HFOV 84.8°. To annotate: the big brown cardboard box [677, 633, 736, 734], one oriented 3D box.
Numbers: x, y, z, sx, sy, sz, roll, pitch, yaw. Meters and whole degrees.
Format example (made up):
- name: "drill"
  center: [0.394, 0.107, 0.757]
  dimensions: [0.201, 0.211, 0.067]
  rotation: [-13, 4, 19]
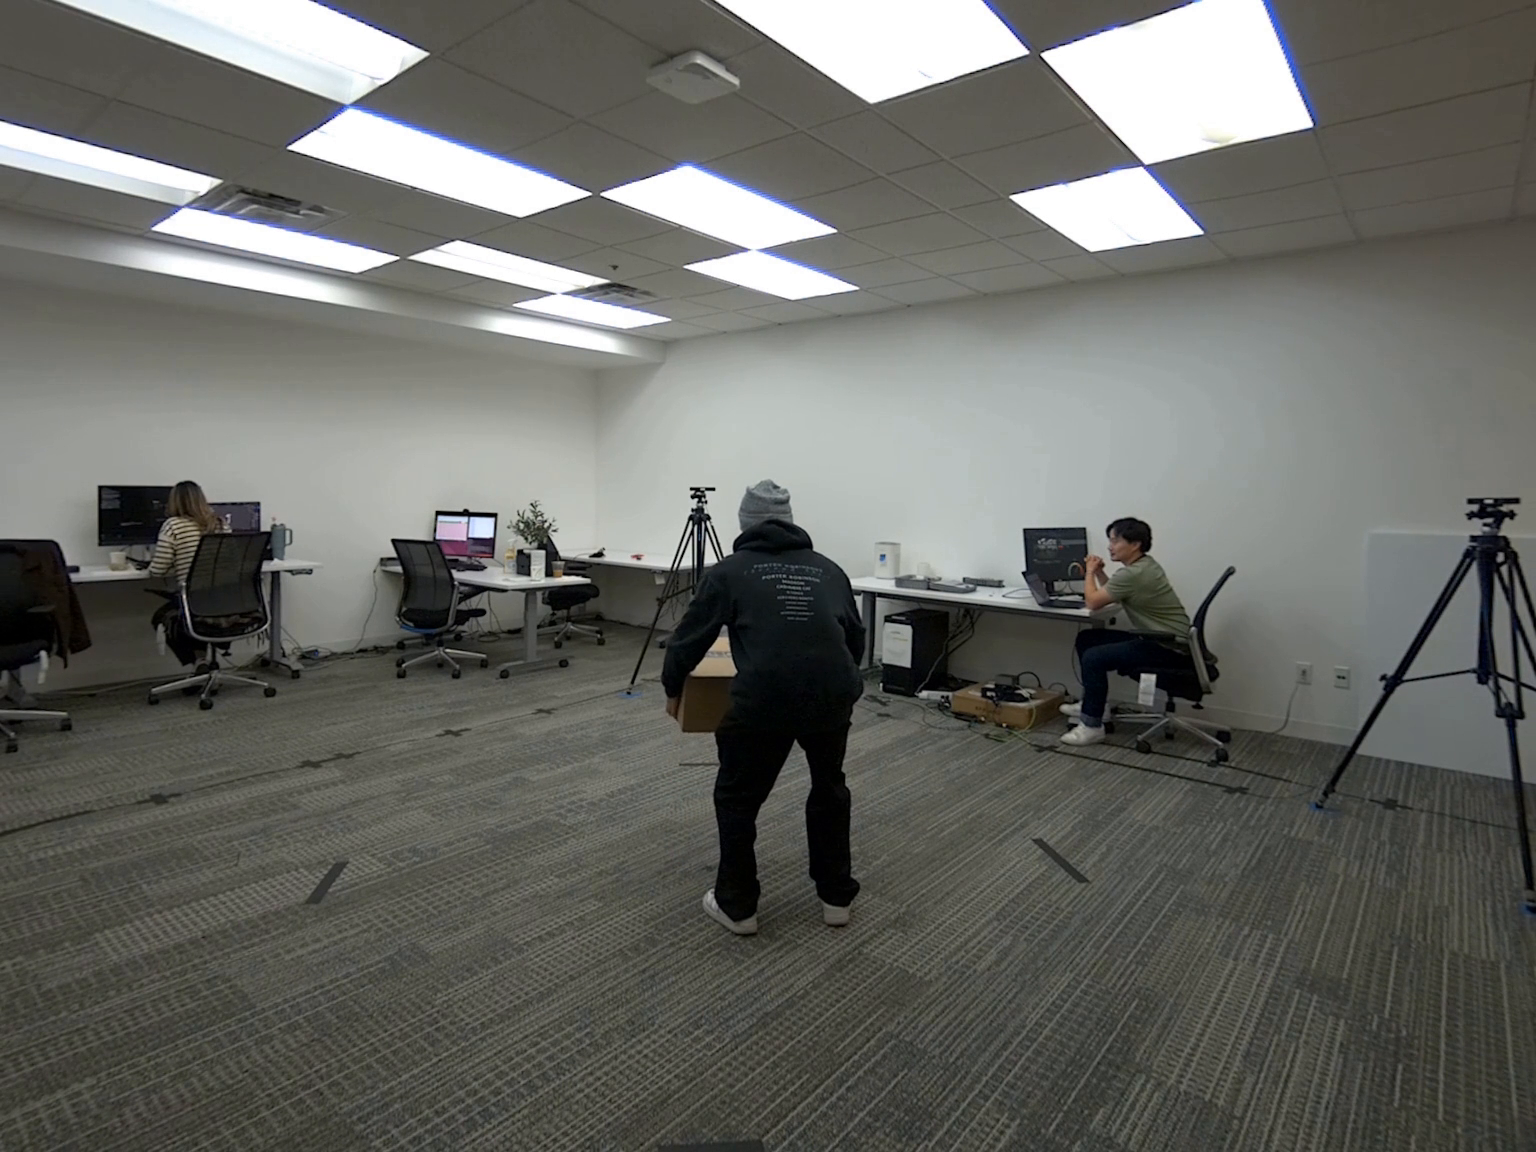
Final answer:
- name: "big brown cardboard box"
  center: [-0.079, 0.399, 3.202]
  dimensions: [0.582, 0.230, 0.427]
  rotation: [2, 14, -11]
